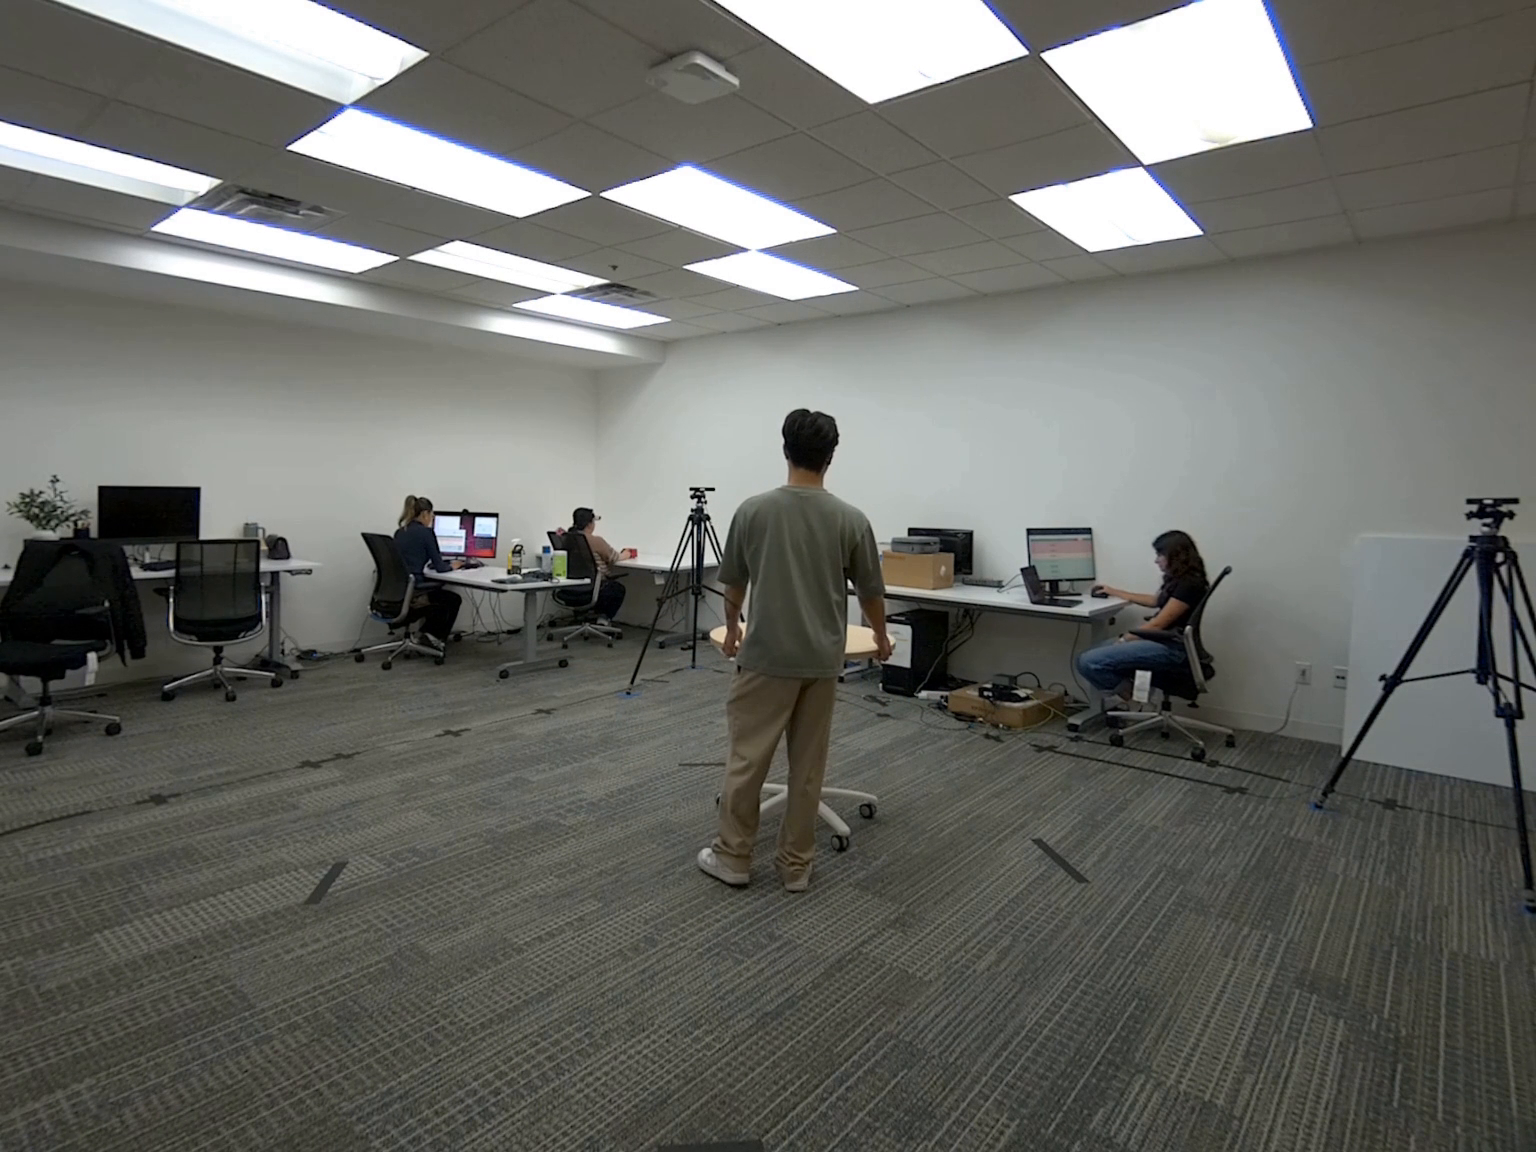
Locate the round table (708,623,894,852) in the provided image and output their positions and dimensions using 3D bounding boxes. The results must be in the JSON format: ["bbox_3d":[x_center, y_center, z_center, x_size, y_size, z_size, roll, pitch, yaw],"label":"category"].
[{"bbox_3d":[0.121,0.629,3.571,0.784,0.783,0.789,1,5,-2],"label":"round table"}]
